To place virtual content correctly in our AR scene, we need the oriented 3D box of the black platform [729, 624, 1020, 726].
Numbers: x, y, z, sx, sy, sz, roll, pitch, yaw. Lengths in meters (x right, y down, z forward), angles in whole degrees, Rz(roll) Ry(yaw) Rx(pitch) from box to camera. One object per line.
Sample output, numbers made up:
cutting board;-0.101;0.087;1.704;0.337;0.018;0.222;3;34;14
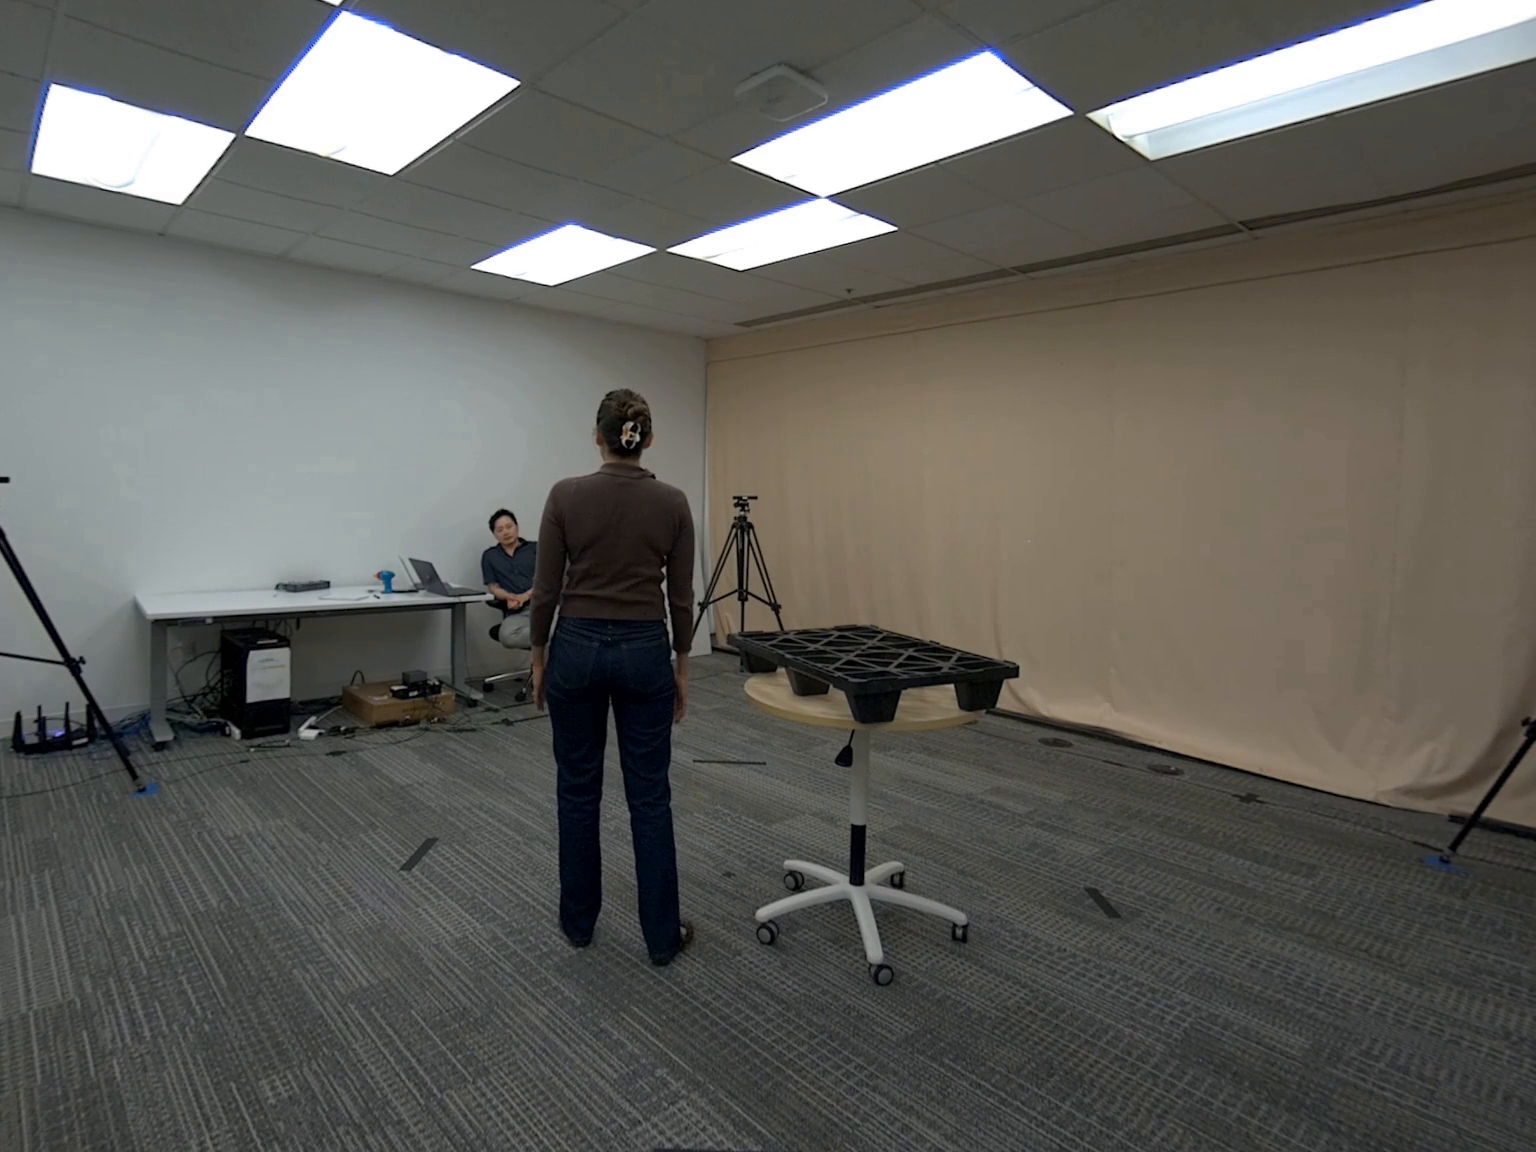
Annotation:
black platform;0.302;0.303;2.715;0.594;0.143;0.823;-2;7;-27
